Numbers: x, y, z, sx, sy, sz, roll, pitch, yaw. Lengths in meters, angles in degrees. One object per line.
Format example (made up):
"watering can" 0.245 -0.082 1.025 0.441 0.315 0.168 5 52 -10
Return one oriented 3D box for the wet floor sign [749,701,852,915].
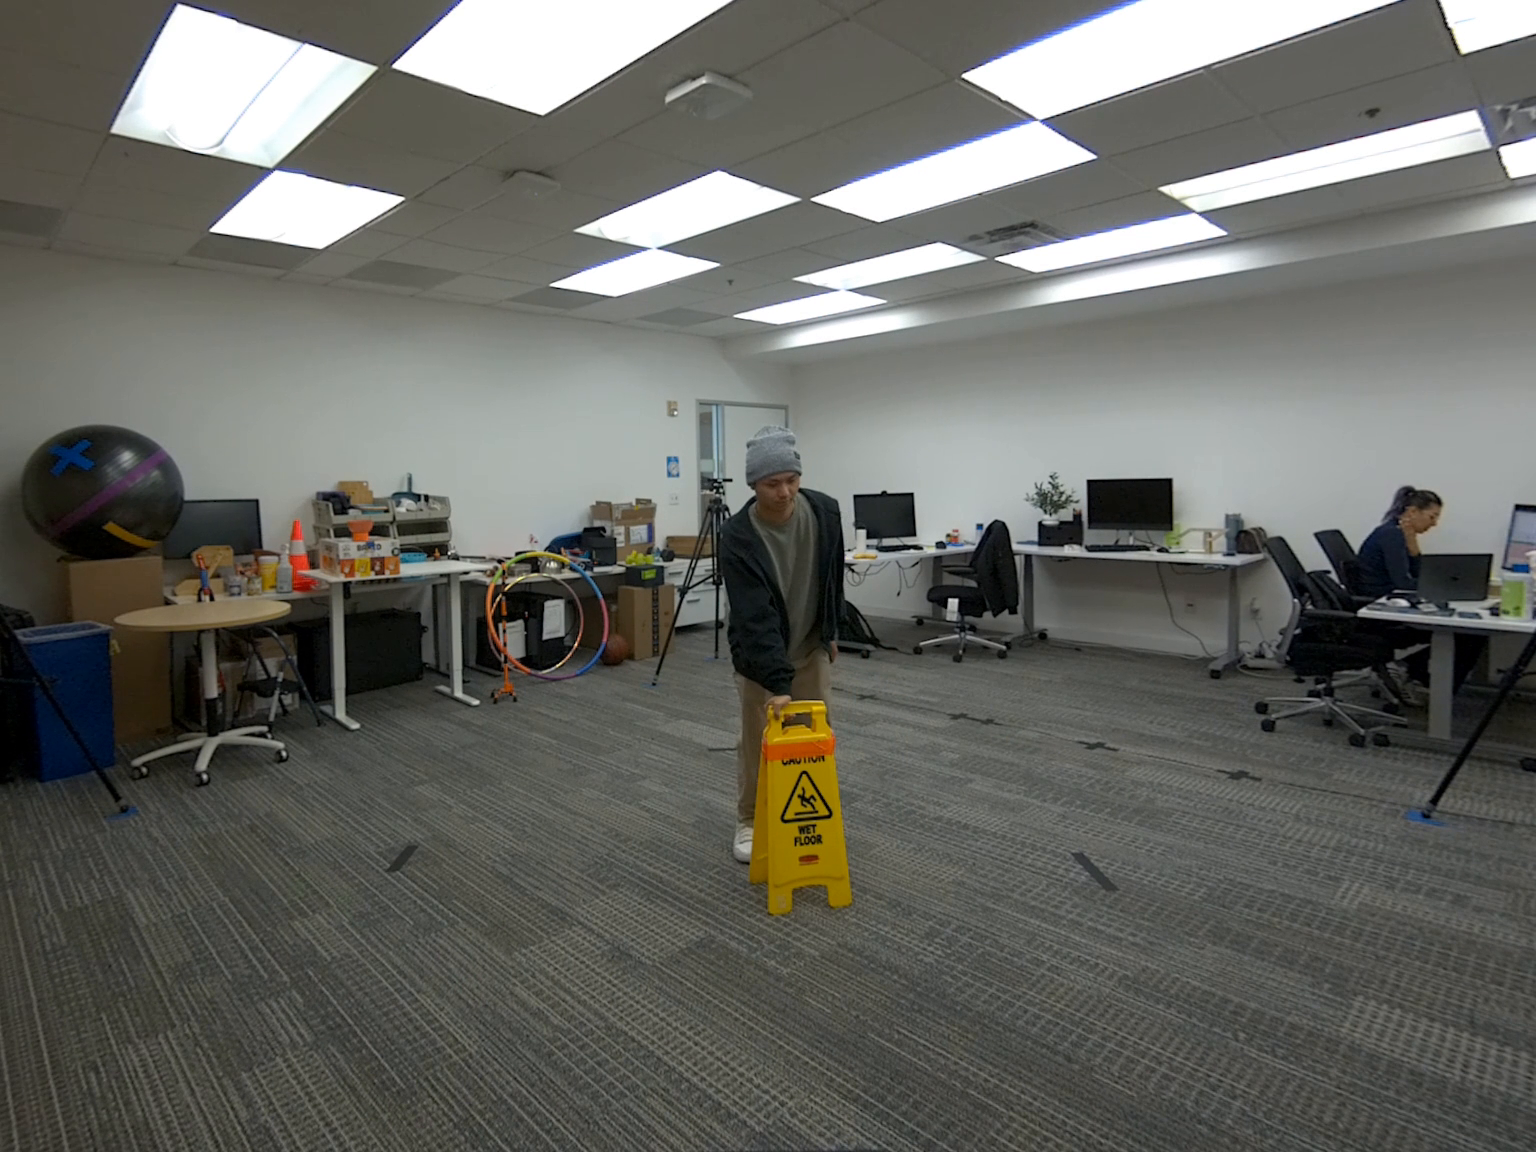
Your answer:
"wet floor sign" 0.101 0.743 2.858 0.278 0.642 0.295 -3 7 -15
